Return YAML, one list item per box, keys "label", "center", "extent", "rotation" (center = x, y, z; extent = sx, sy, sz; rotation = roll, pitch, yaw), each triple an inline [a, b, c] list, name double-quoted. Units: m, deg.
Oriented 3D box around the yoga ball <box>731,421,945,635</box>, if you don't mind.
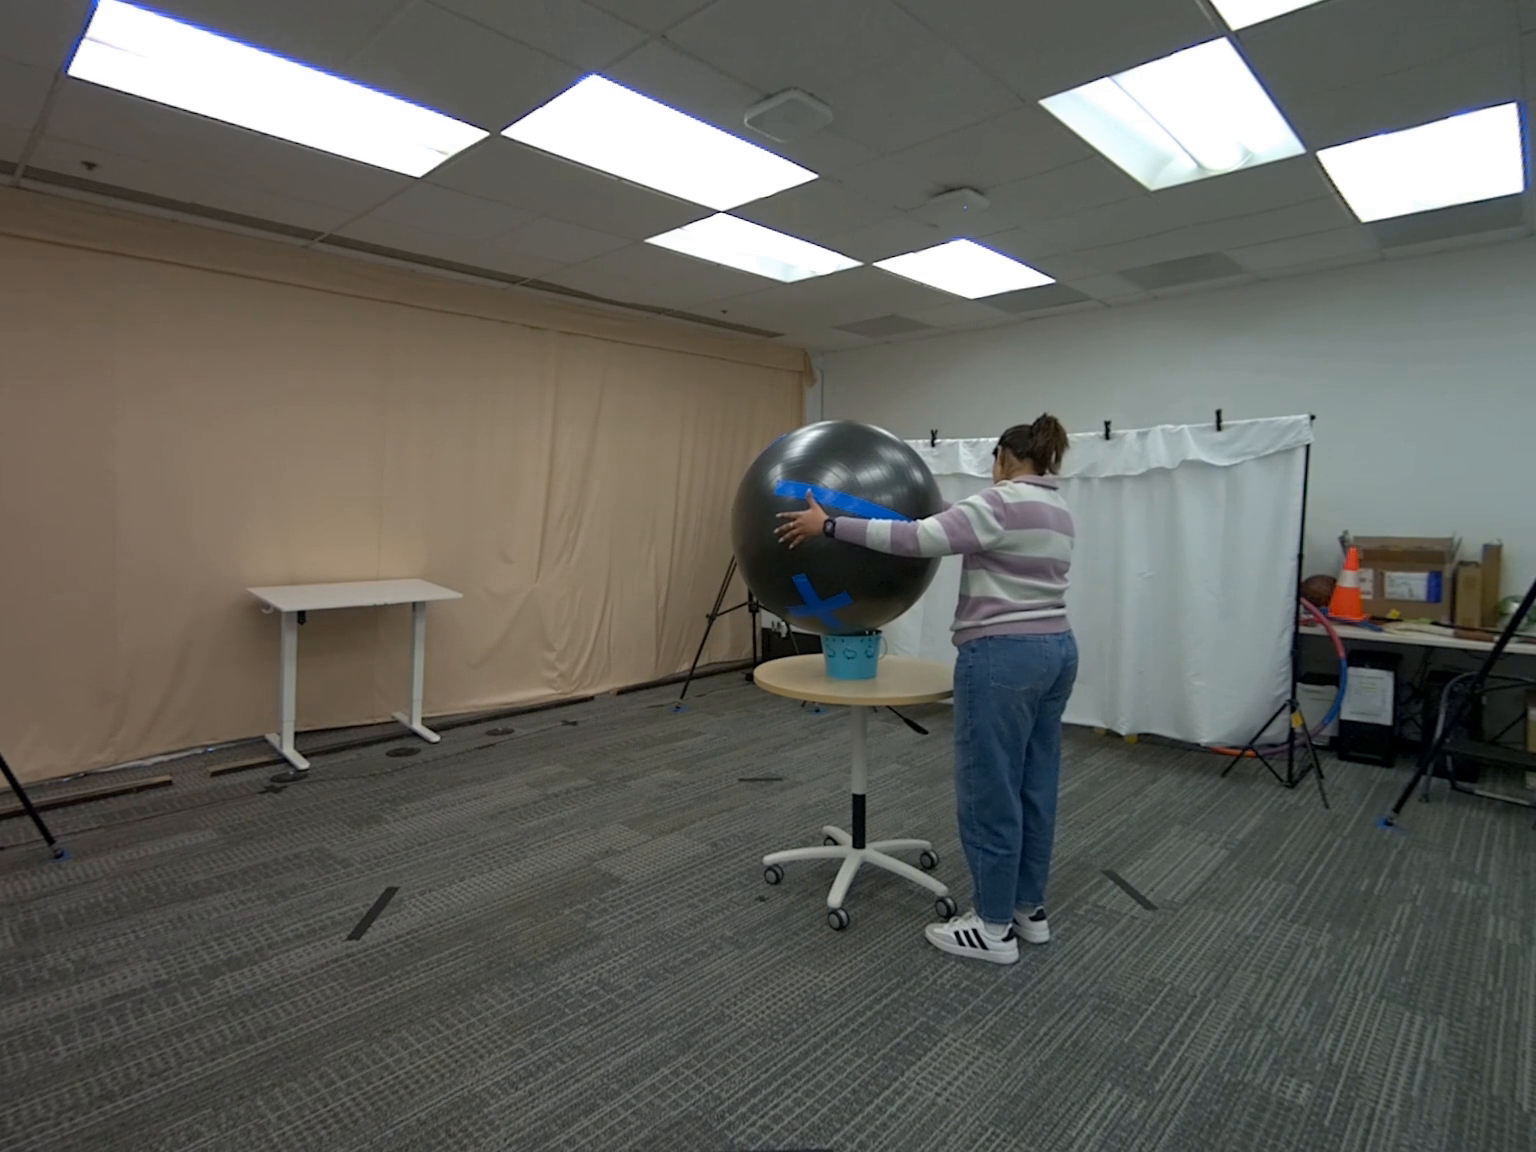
- label: "yoga ball"
  center: [0.247, -0.168, 3.002]
  extent: [0.757, 0.756, 0.760]
  rotation: [0, 4, -2]
